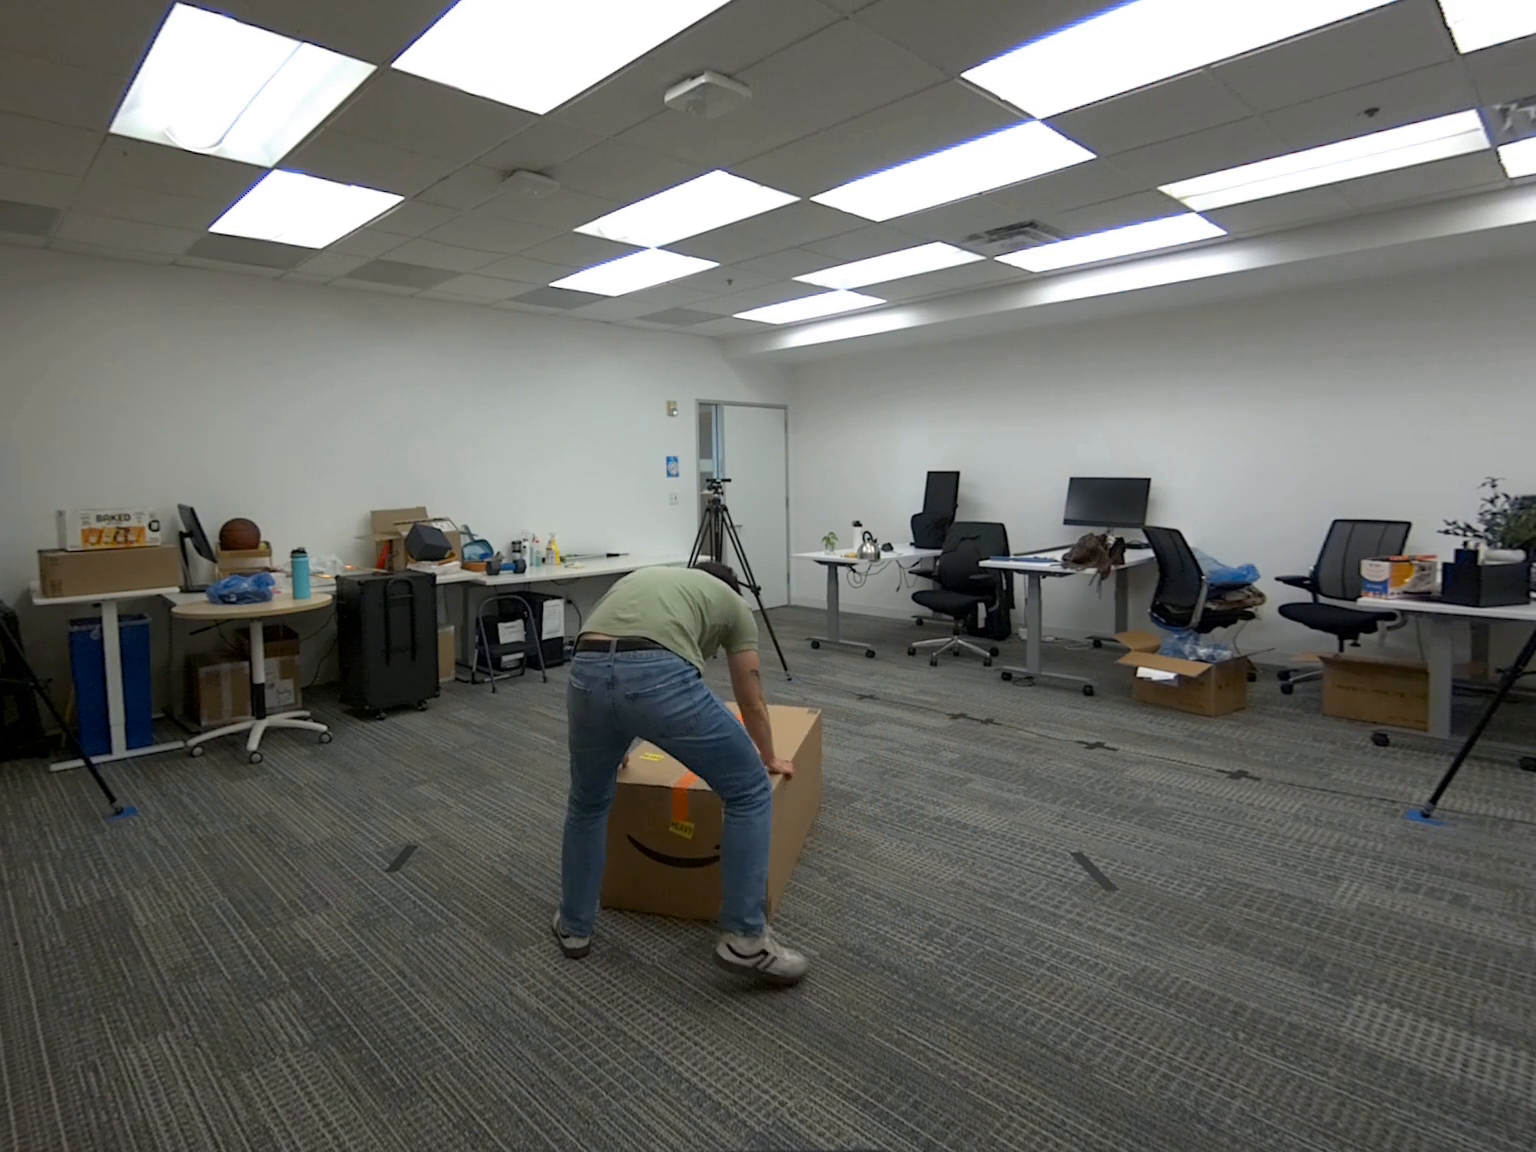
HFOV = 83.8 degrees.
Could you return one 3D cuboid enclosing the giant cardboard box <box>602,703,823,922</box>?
[{"bbox_3d":[-0.154,0.820,3.202,0.586,0.424,1.017,1,7,13],"label":"giant cardboard box"}]
